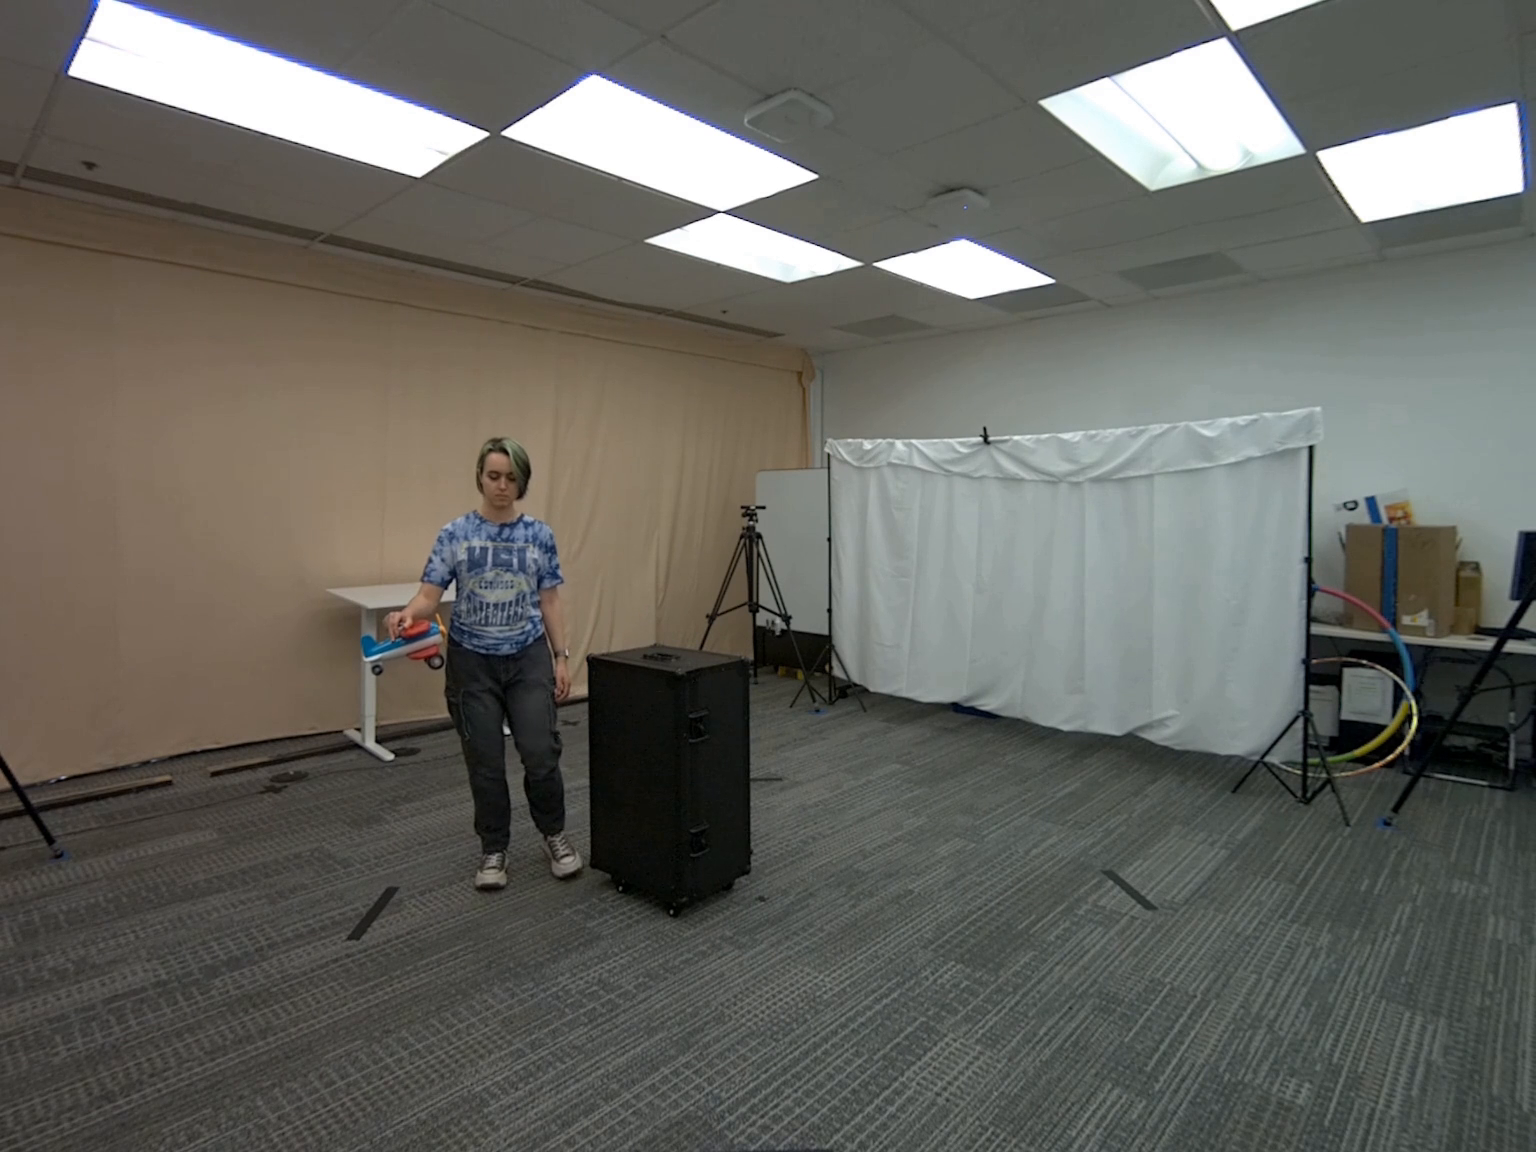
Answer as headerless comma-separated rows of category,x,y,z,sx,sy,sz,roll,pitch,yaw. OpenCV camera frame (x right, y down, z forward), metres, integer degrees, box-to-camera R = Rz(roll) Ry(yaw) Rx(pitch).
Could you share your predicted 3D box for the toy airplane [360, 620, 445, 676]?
toy airplane,-1.158,0.227,2.700,0.259,0.156,0.252,3,4,35
